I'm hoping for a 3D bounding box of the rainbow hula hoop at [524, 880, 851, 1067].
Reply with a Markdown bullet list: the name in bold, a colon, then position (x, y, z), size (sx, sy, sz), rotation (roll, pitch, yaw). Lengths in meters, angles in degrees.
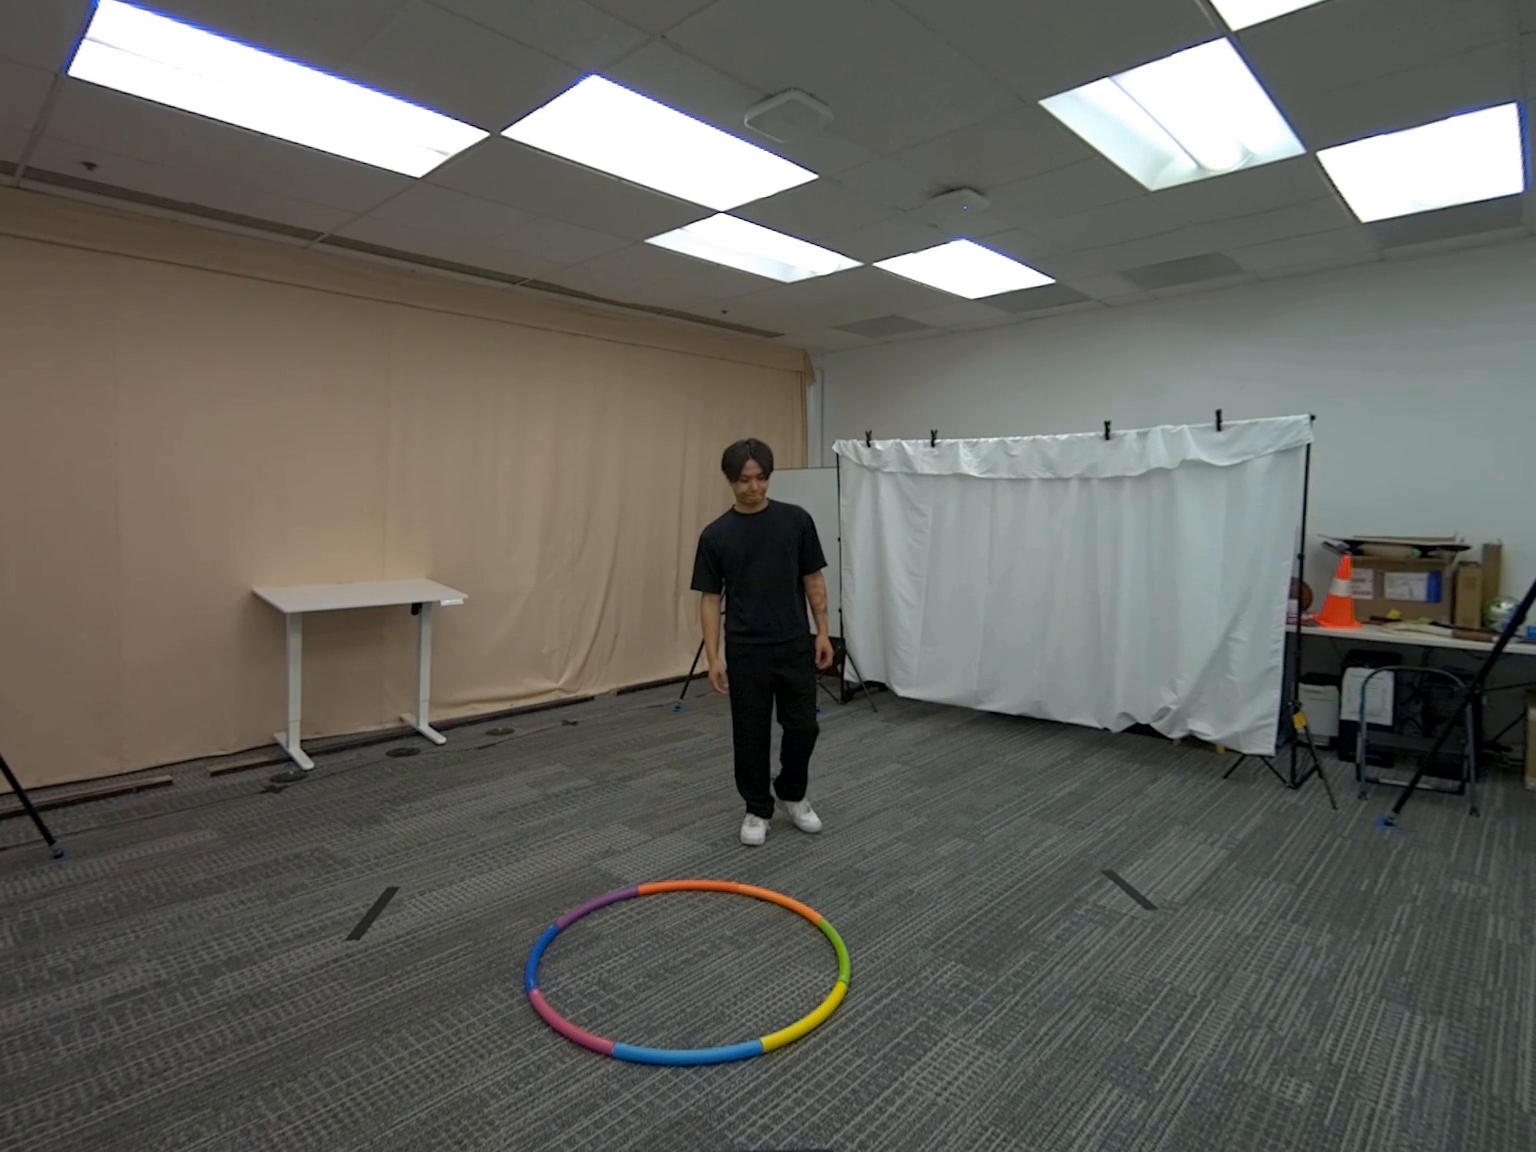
- **rainbow hula hoop**: position (-0.237, 1.149, 2.582), size (0.978, 0.035, 0.982), rotation (-1, 4, -2)
